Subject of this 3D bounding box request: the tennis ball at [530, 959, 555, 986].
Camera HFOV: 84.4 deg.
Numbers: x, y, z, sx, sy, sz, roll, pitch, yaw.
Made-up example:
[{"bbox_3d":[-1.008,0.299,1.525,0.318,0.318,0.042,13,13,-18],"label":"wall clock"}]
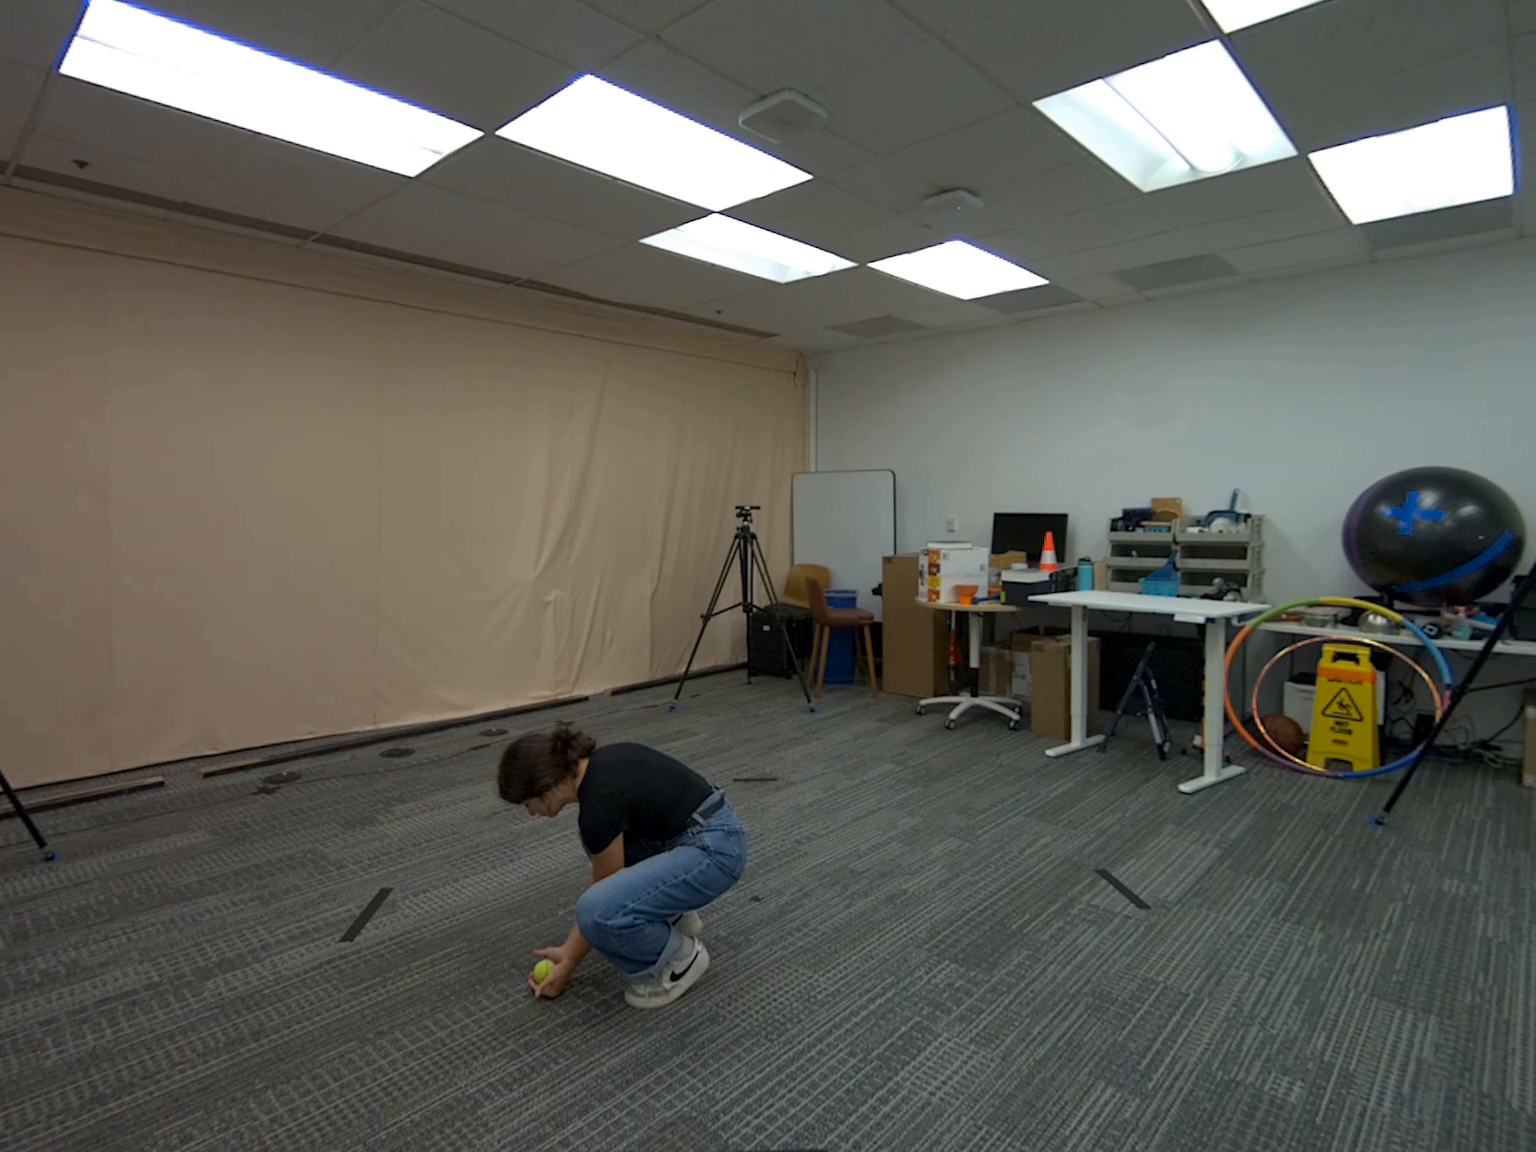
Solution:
[{"bbox_3d":[-0.639,1.138,2.438,0.066,0.066,0.067,0,4,-2],"label":"tennis ball"}]
